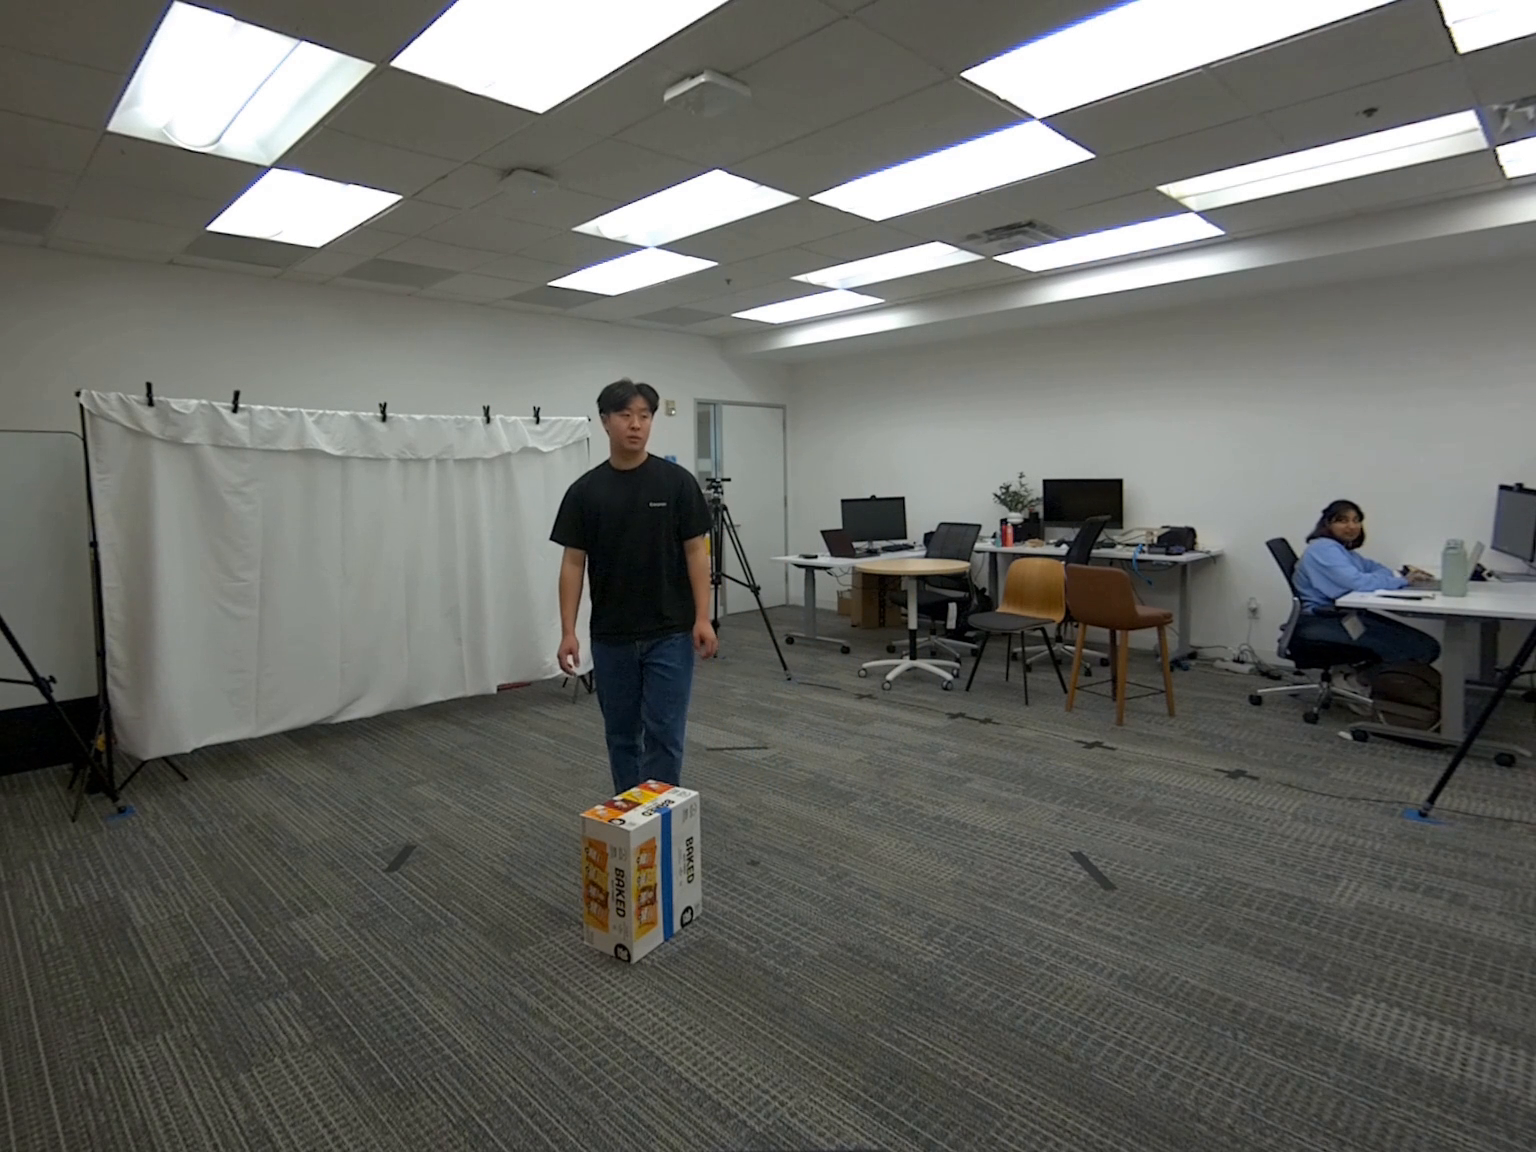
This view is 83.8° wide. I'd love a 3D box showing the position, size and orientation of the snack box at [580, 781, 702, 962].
[{"bbox_3d":[-0.385,0.901,2.648,0.211,0.403,0.332,3,6,32],"label":"snack box"}]
